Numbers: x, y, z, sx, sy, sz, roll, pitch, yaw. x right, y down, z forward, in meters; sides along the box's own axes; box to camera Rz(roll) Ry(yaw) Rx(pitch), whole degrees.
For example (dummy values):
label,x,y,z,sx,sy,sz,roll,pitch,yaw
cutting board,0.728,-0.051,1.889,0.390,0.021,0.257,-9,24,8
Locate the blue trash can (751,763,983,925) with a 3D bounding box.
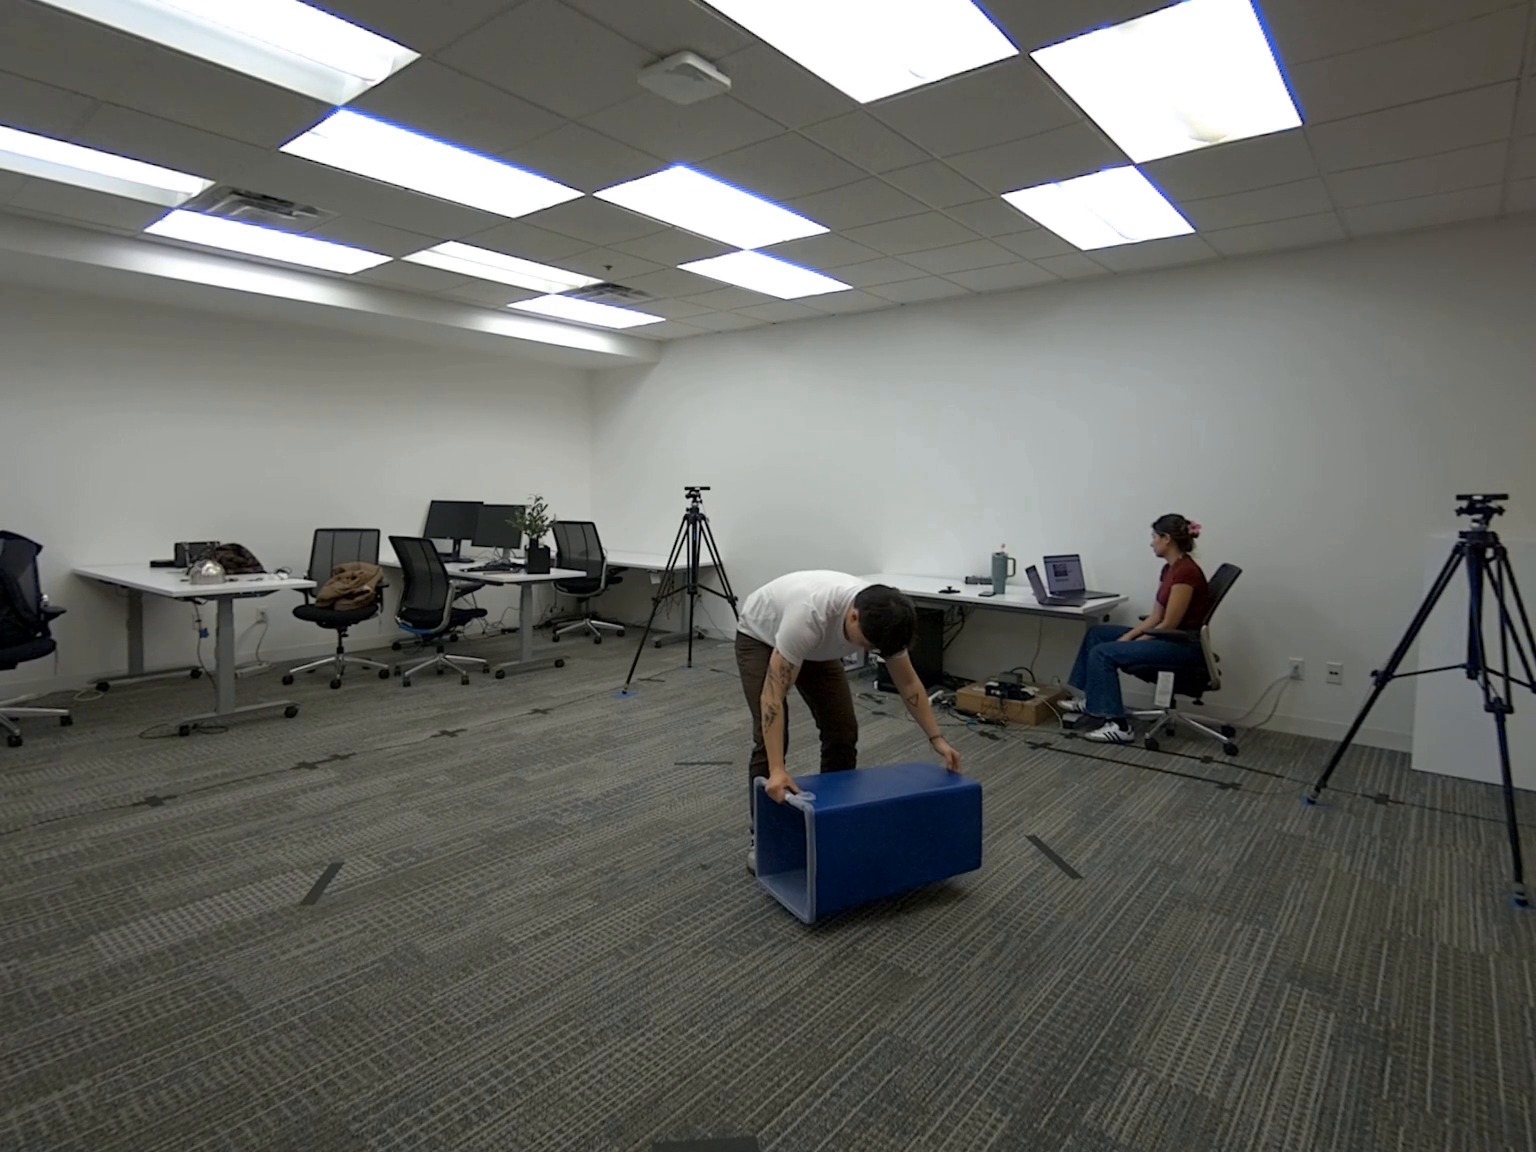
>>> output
label,x,y,z,sx,sy,sz,roll,pitch,yaw
blue trash can,0.338,0.867,2.913,0.696,0.378,0.384,-1,2,-27
